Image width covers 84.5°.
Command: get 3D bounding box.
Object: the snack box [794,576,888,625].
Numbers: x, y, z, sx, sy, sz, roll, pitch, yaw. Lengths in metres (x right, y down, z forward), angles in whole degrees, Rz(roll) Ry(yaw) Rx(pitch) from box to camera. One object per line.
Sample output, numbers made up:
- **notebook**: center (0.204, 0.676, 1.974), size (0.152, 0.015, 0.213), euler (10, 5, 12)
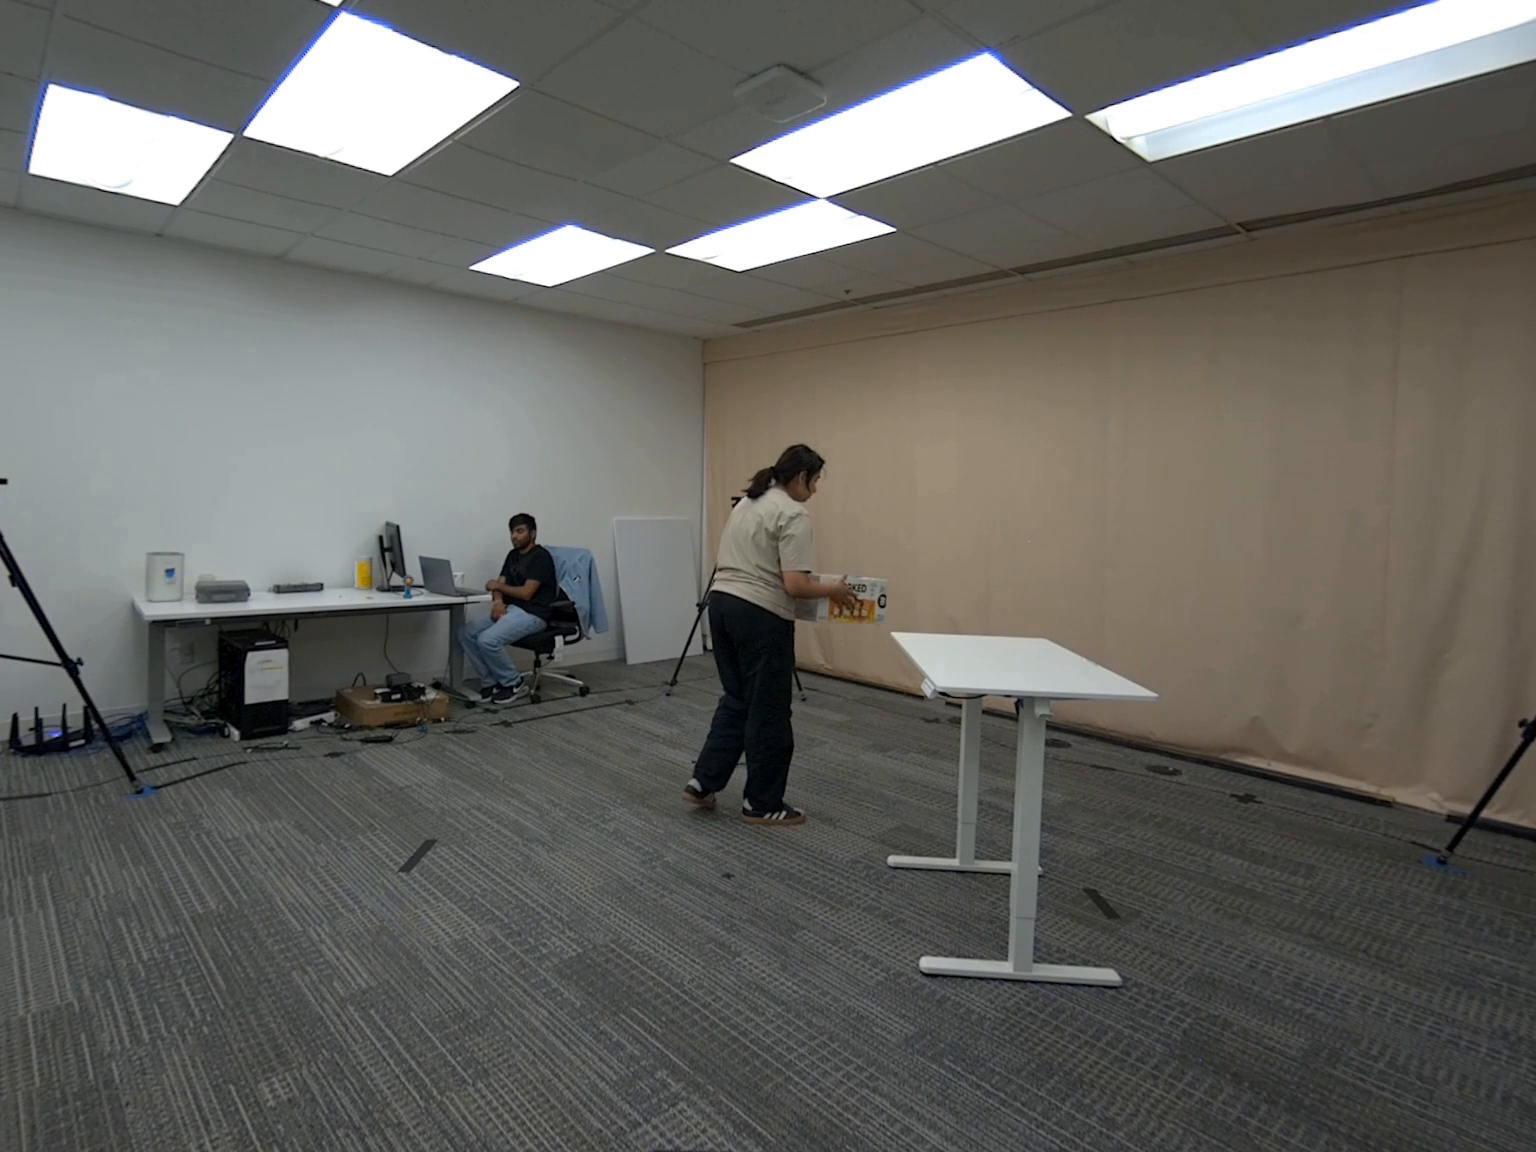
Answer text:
- **snack box**: center (0.264, 0.096, 3.856), size (0.396, 0.205, 0.348), euler (4, 1, -34)
